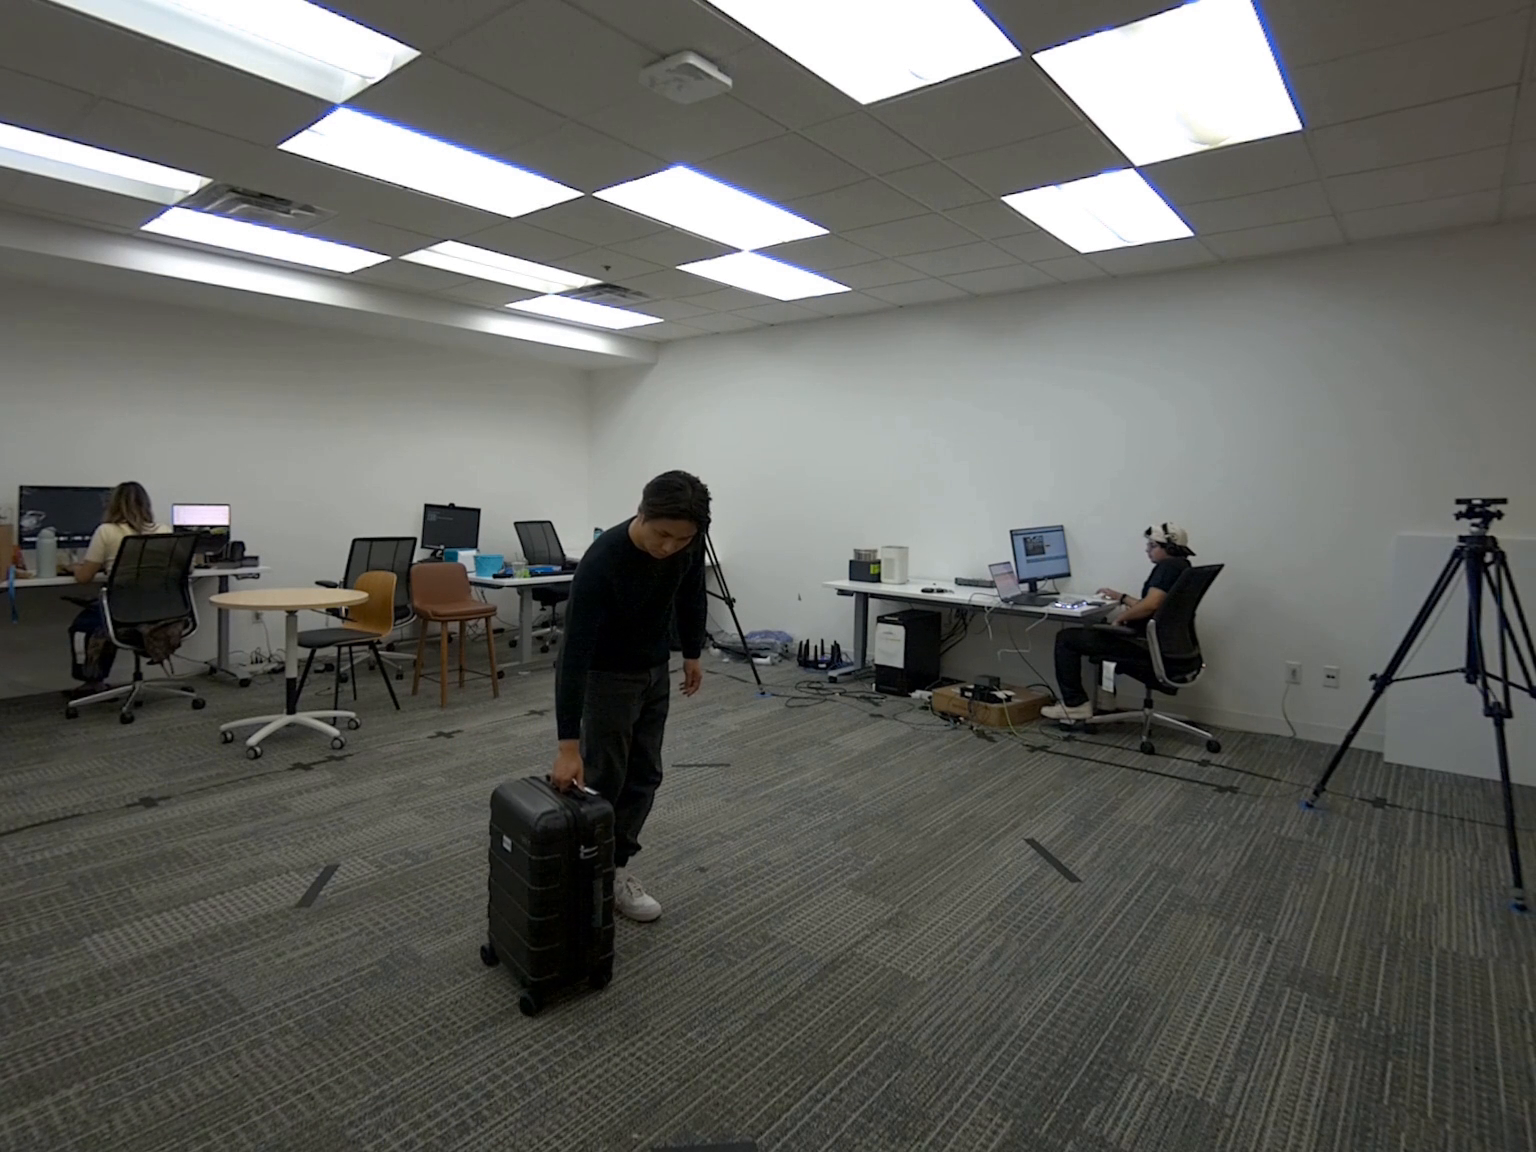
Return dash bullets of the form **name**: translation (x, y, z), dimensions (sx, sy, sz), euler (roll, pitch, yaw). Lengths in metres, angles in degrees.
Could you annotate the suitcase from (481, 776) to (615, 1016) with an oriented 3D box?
- **suitcase**: translation (-0.622, 0.856, 2.394), dimensions (0.241, 0.547, 0.388), euler (-1, 5, -38)
